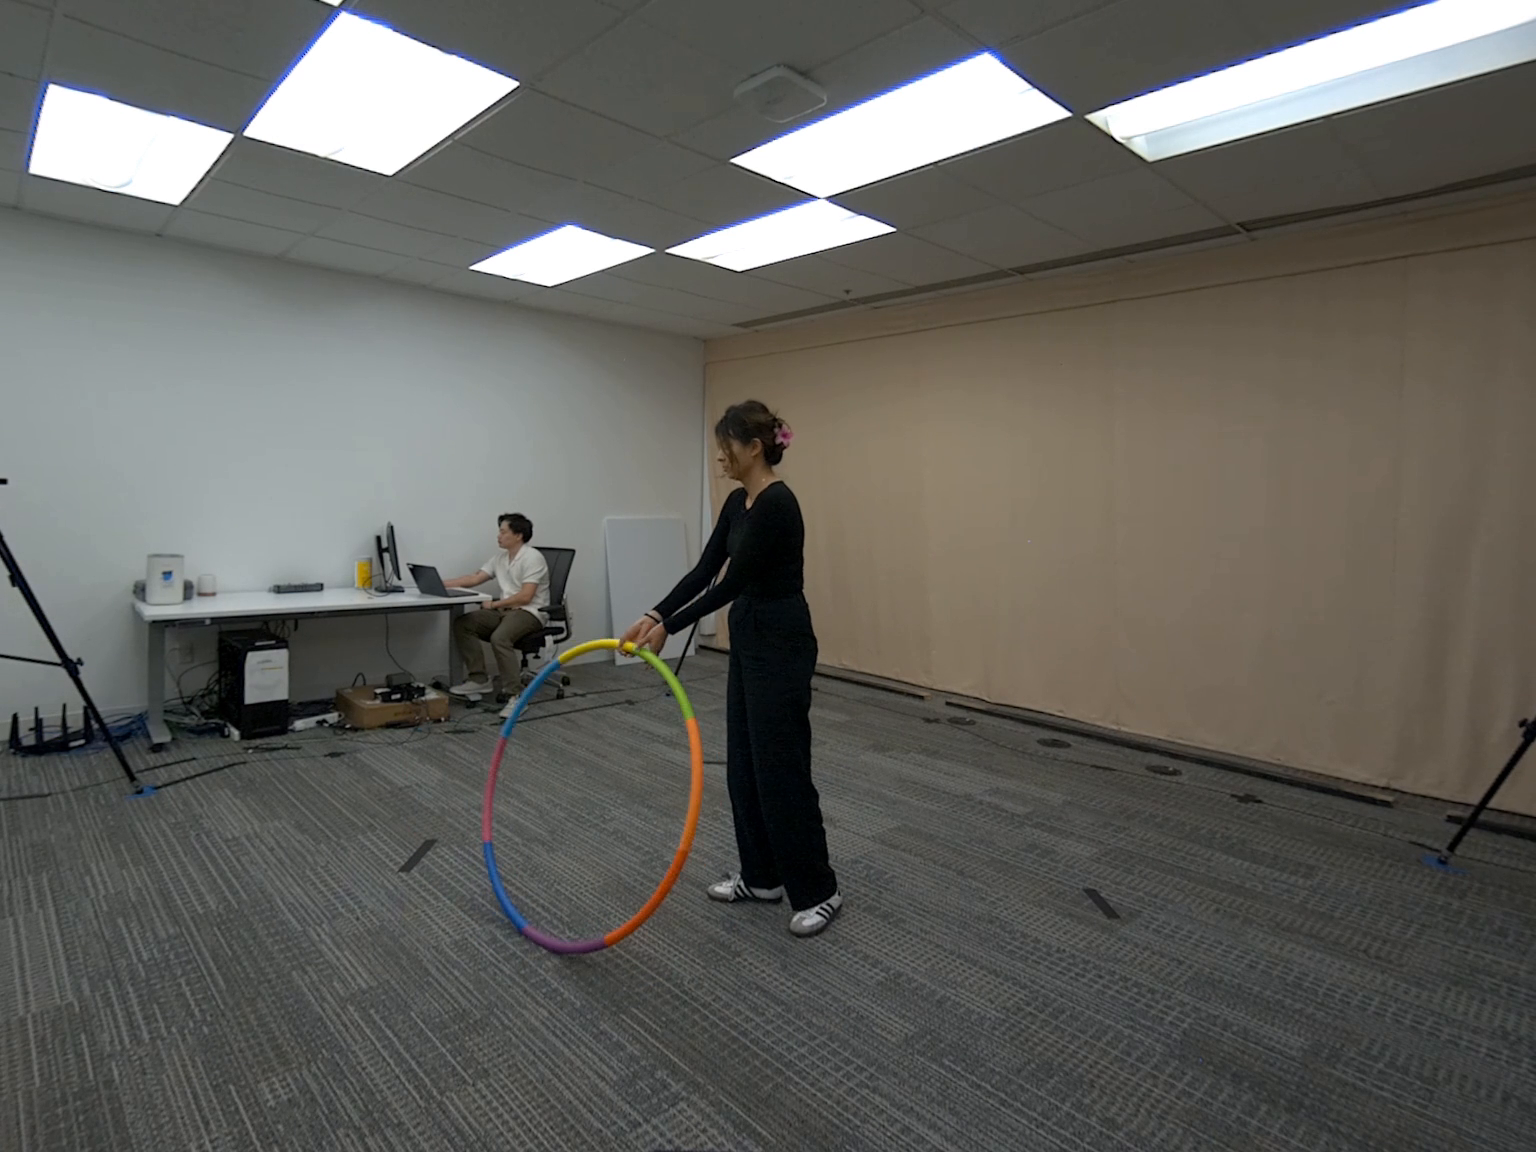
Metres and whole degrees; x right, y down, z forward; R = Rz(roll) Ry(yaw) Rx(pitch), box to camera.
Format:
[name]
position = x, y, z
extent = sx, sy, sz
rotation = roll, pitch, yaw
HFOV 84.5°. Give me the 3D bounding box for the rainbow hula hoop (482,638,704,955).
[rainbow hula hoop]
position = -0.608, 0.678, 2.703
extent = 1.003, 0.985, 0.034
rotation = 5, -16, 40
